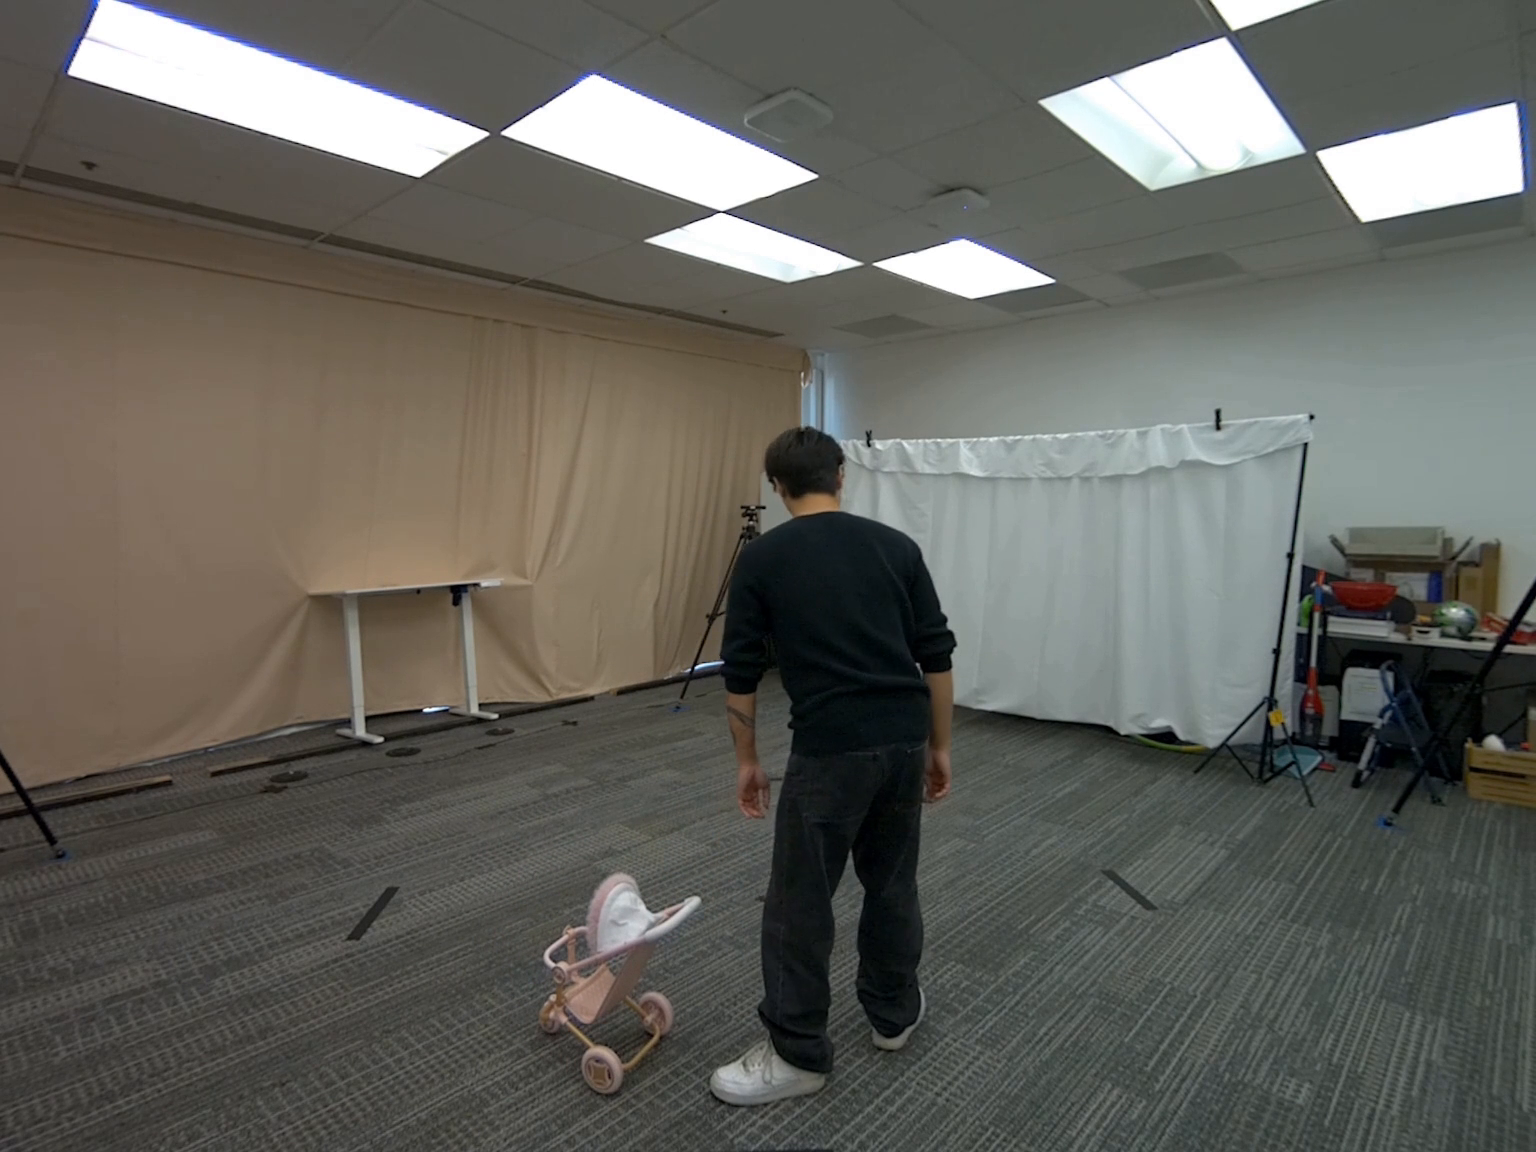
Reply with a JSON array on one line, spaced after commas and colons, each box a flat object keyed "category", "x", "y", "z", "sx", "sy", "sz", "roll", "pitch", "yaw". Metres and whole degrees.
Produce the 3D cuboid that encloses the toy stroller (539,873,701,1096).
[{"category": "toy stroller", "x": -0.403, "y": 0.997, "z": 2.132, "sx": 0.352, "sy": 0.533, "sz": 0.274, "roll": 20, "pitch": 13, "yaw": 28}]
